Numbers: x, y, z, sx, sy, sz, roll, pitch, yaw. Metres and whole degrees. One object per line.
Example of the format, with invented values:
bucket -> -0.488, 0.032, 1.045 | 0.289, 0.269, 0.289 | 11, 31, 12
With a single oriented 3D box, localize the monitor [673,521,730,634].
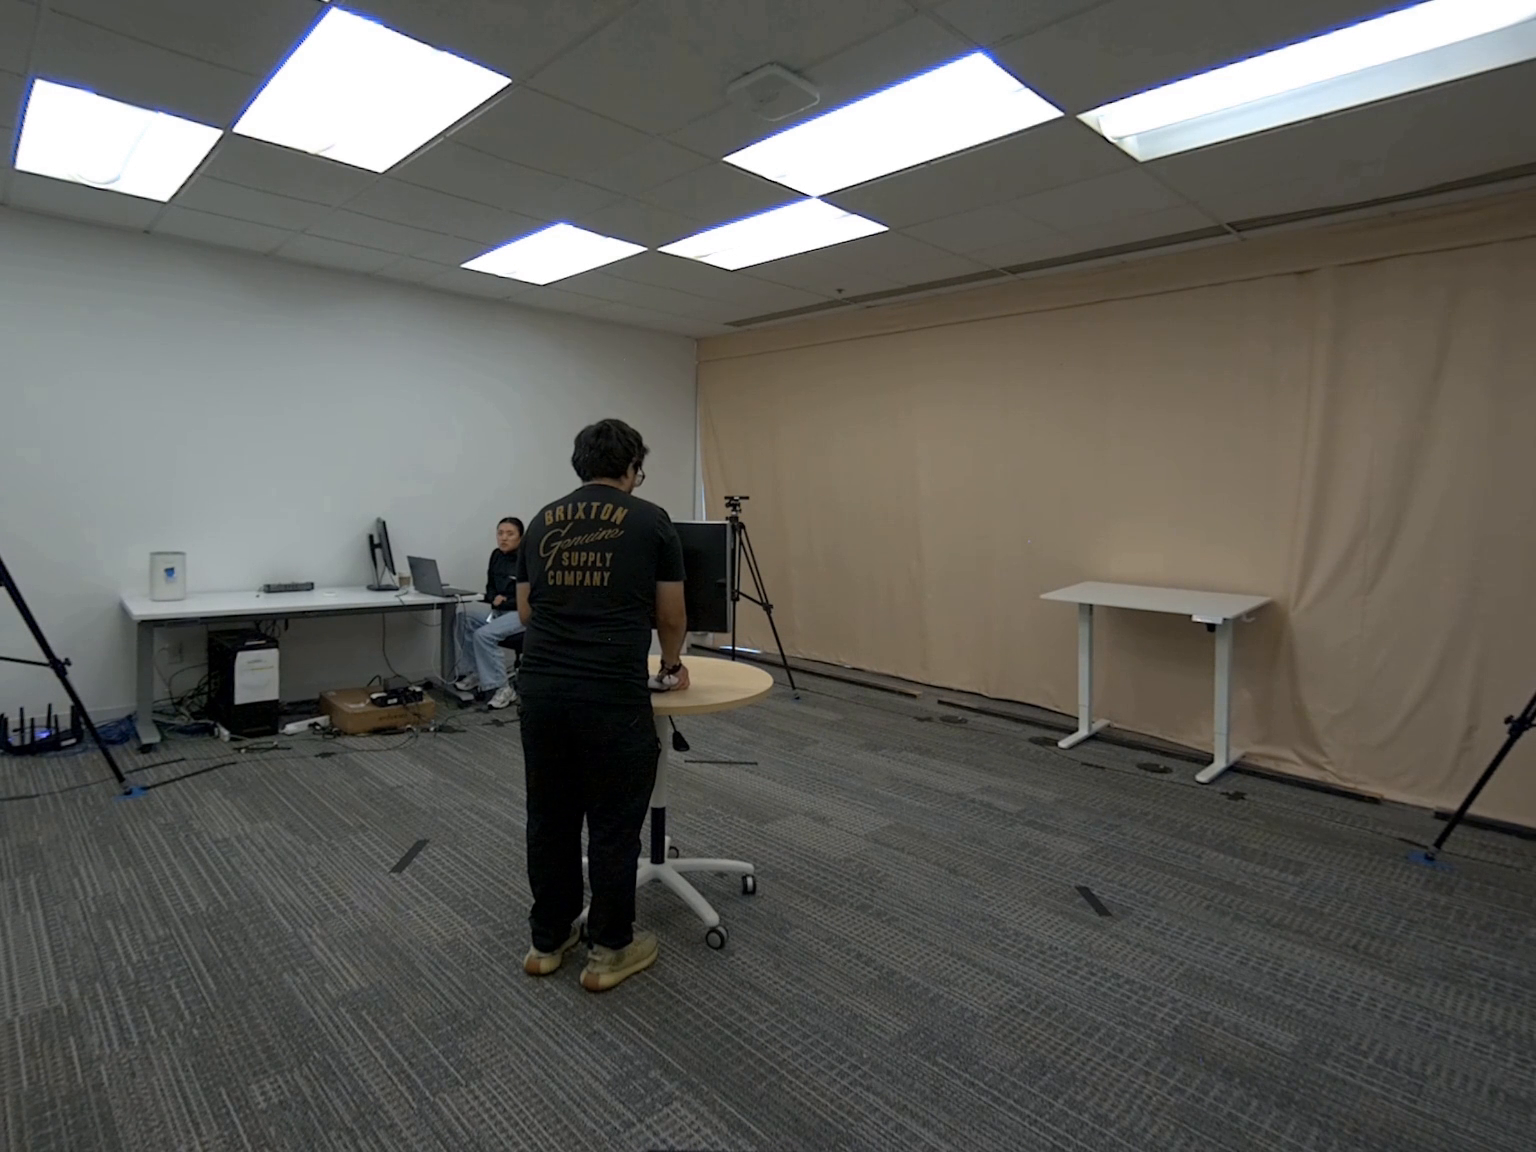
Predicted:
monitor -> -0.411, 0.094, 2.710 | 0.573, 0.552, 0.208 | 2, 4, 17
